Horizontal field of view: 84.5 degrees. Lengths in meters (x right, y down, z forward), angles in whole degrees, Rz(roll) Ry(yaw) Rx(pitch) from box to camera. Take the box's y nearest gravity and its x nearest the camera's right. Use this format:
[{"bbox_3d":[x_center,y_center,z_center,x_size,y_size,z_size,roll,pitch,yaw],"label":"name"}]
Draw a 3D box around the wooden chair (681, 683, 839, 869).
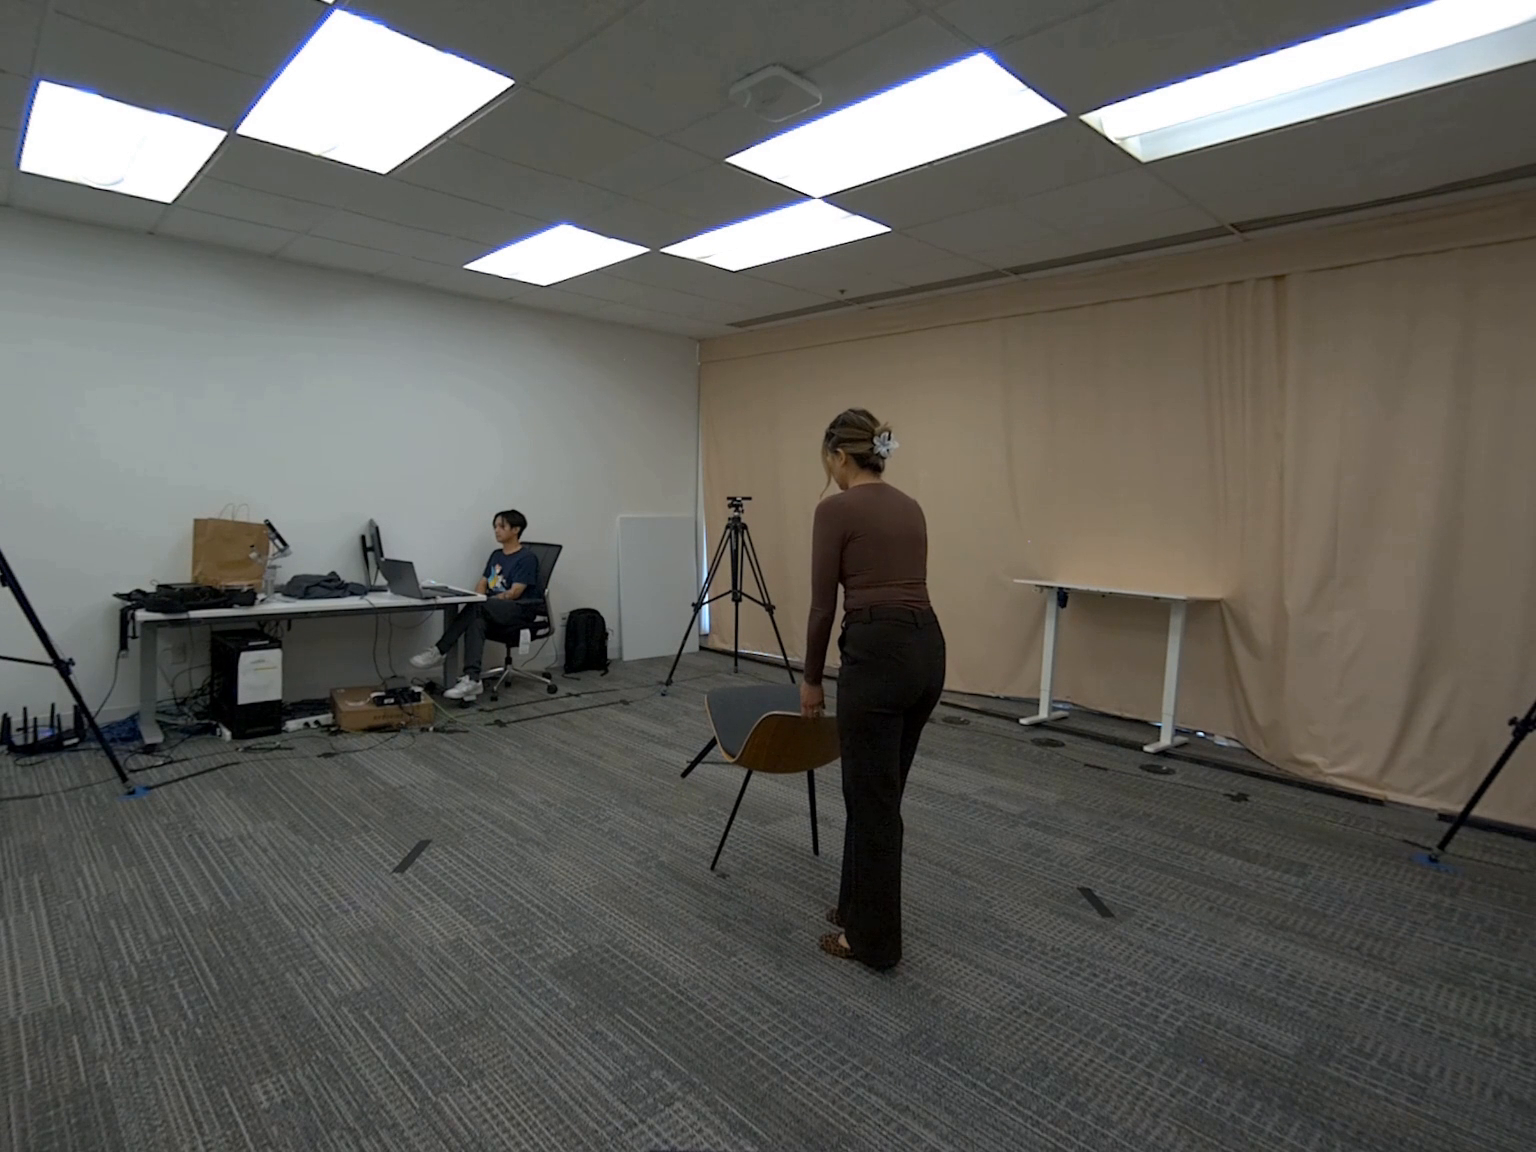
[{"bbox_3d":[0.010,0.616,3.170,0.470,0.865,0.539,0,40,-23],"label":"wooden chair"}]
